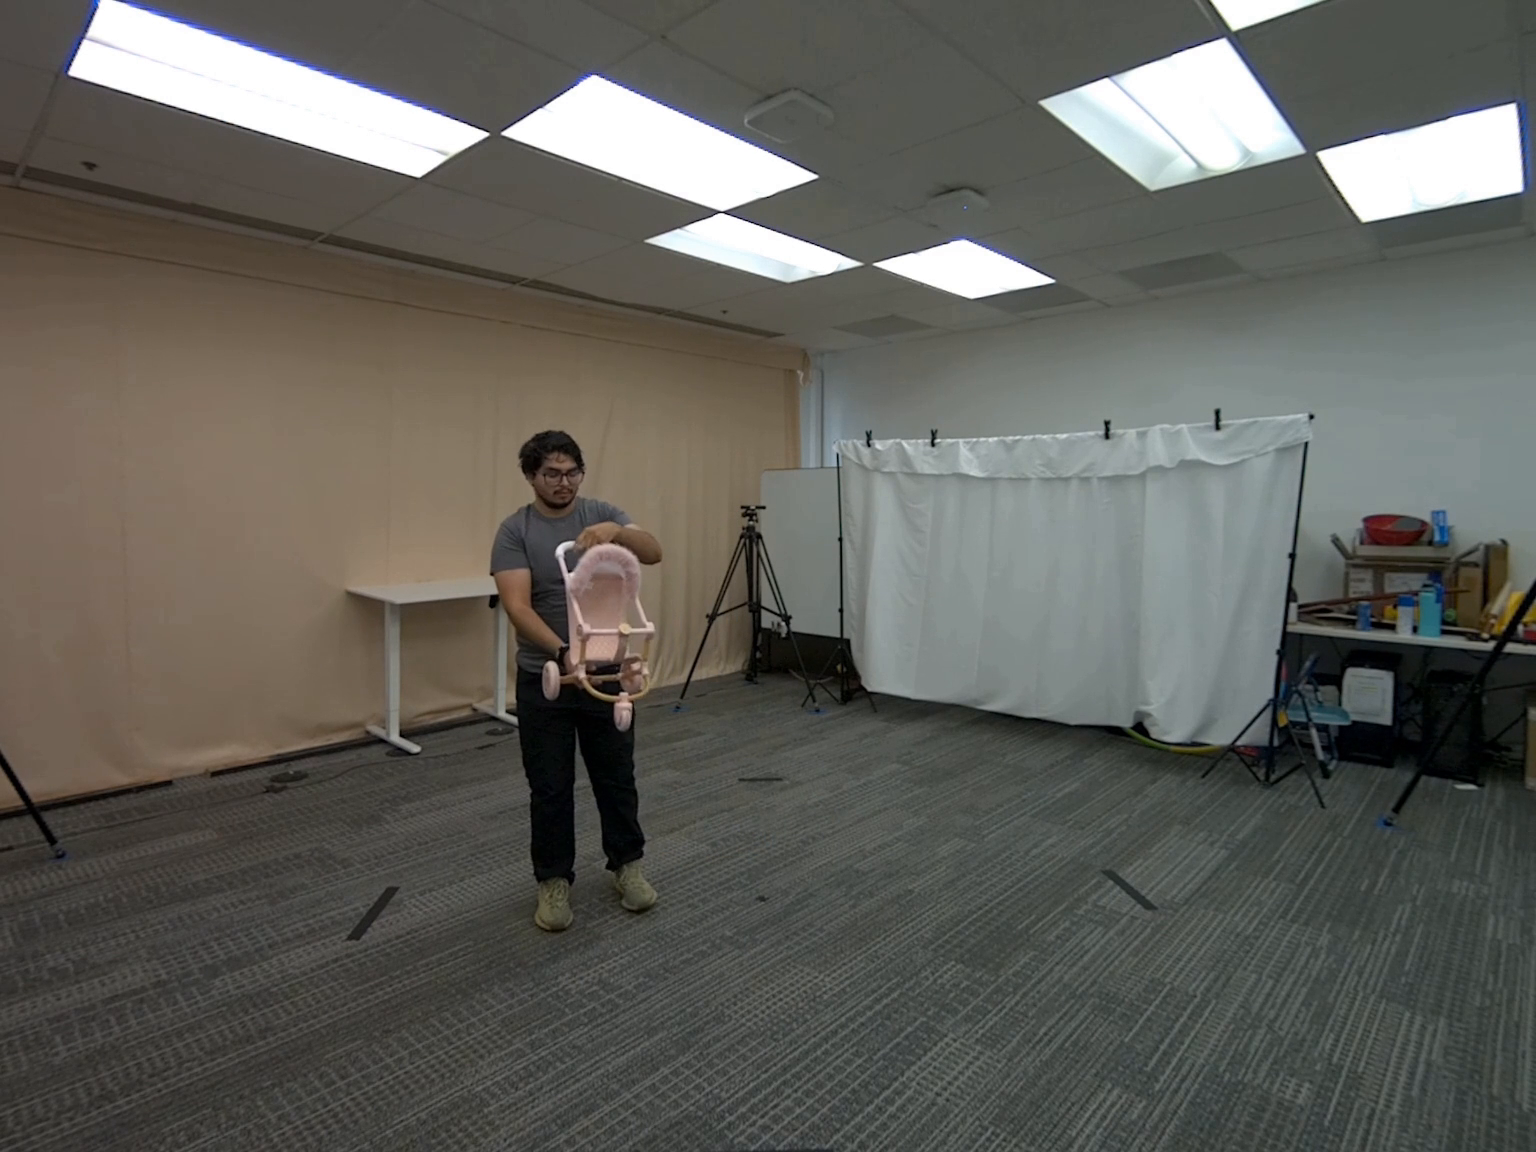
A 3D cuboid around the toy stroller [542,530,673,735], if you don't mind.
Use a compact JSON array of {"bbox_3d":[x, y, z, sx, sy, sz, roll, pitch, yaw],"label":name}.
[{"bbox_3d":[-0.463,0.152,2.369,0.274,0.536,0.349,1,-5,-26],"label":"toy stroller"}]
